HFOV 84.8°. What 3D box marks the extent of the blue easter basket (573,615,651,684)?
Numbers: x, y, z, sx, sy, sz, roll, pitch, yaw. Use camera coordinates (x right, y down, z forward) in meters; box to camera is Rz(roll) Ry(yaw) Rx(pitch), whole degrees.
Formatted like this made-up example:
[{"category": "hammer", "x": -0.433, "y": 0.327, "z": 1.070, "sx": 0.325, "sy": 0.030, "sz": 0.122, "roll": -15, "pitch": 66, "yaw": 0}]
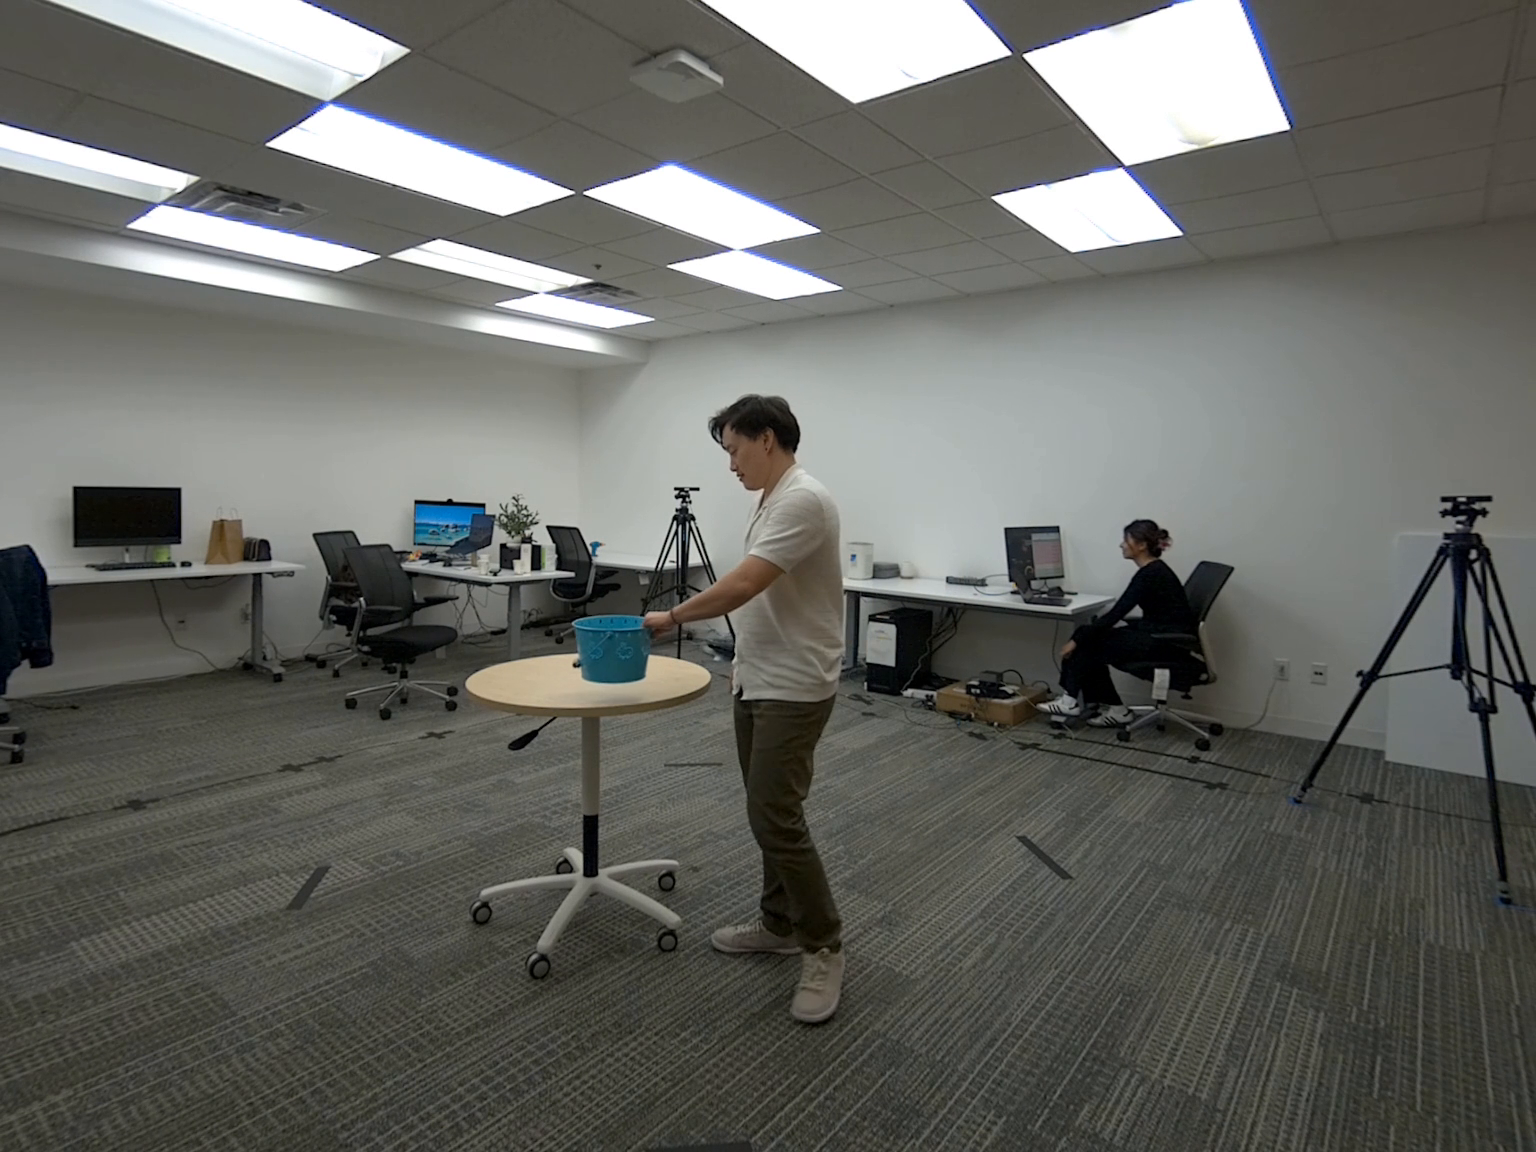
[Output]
[{"category": "blue easter basket", "x": -0.441, "y": 0.208, "z": 2.389, "sx": 0.243, "sy": 0.155, "sz": 0.245, "roll": 0, "pitch": 7, "yaw": -2}]
